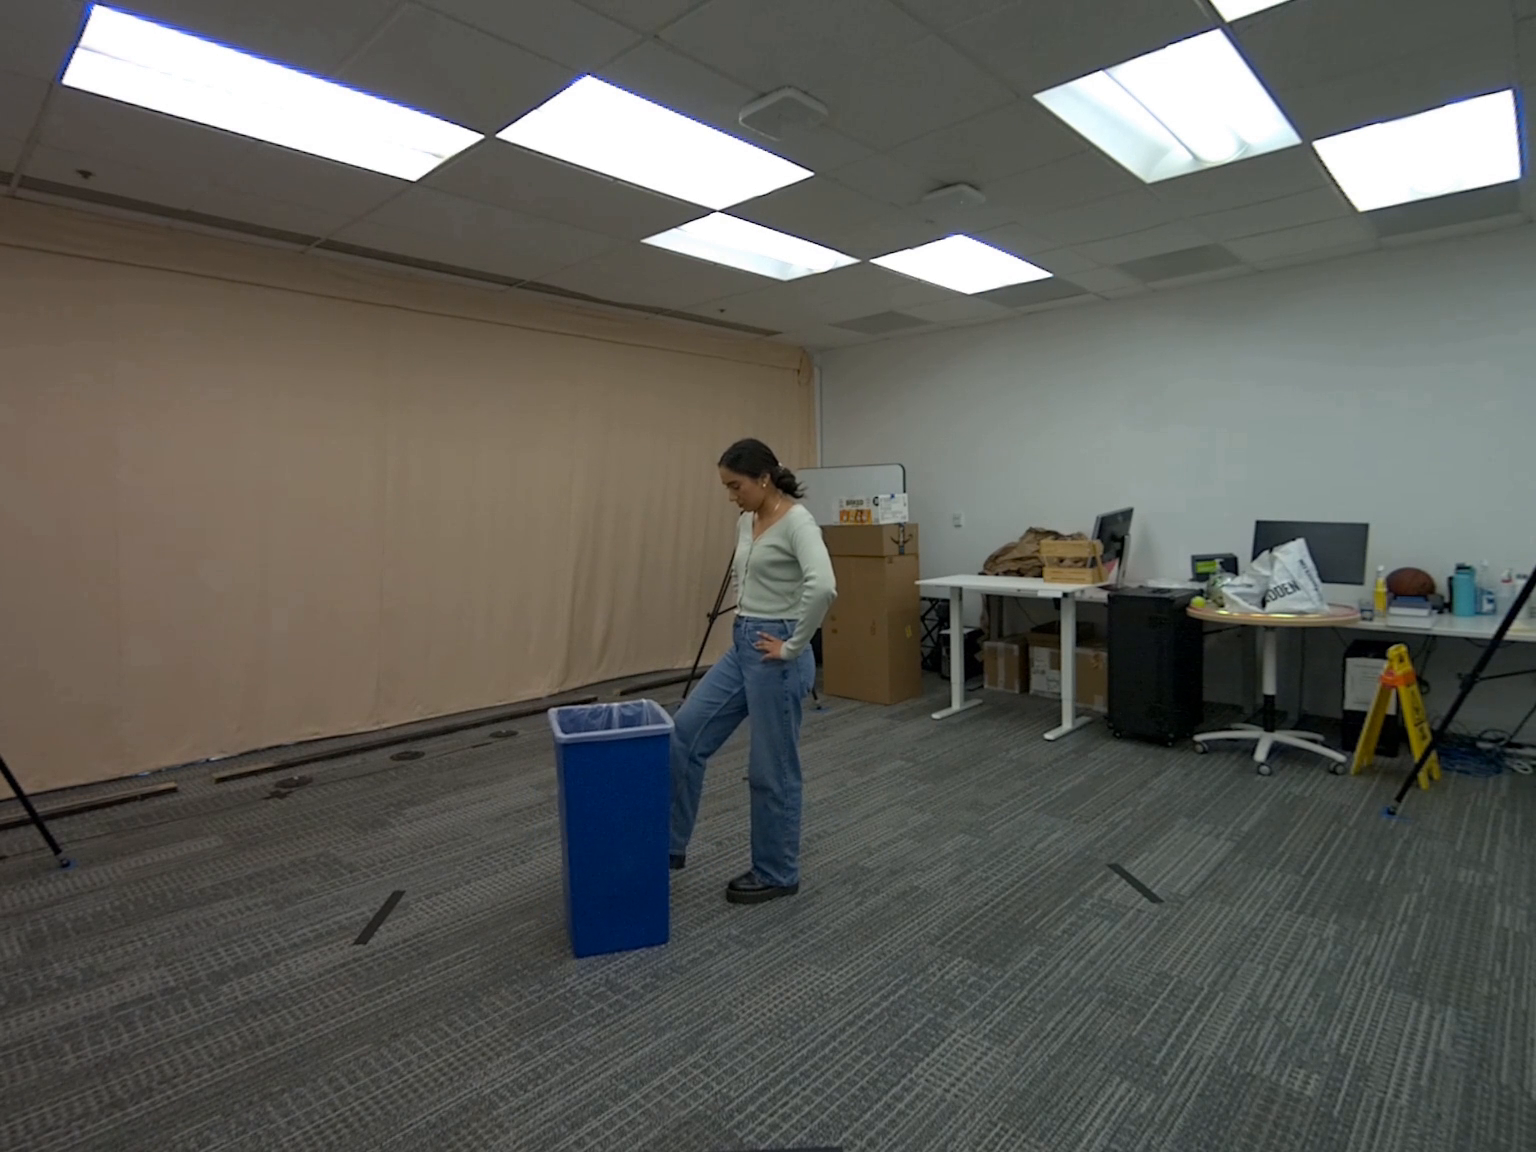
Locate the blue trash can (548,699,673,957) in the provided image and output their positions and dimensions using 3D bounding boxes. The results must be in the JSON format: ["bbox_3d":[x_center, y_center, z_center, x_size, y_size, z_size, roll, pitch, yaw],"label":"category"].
[{"bbox_3d":[-0.519,0.813,2.755,0.367,0.712,0.386,-3,4,-19],"label":"blue trash can"}]
